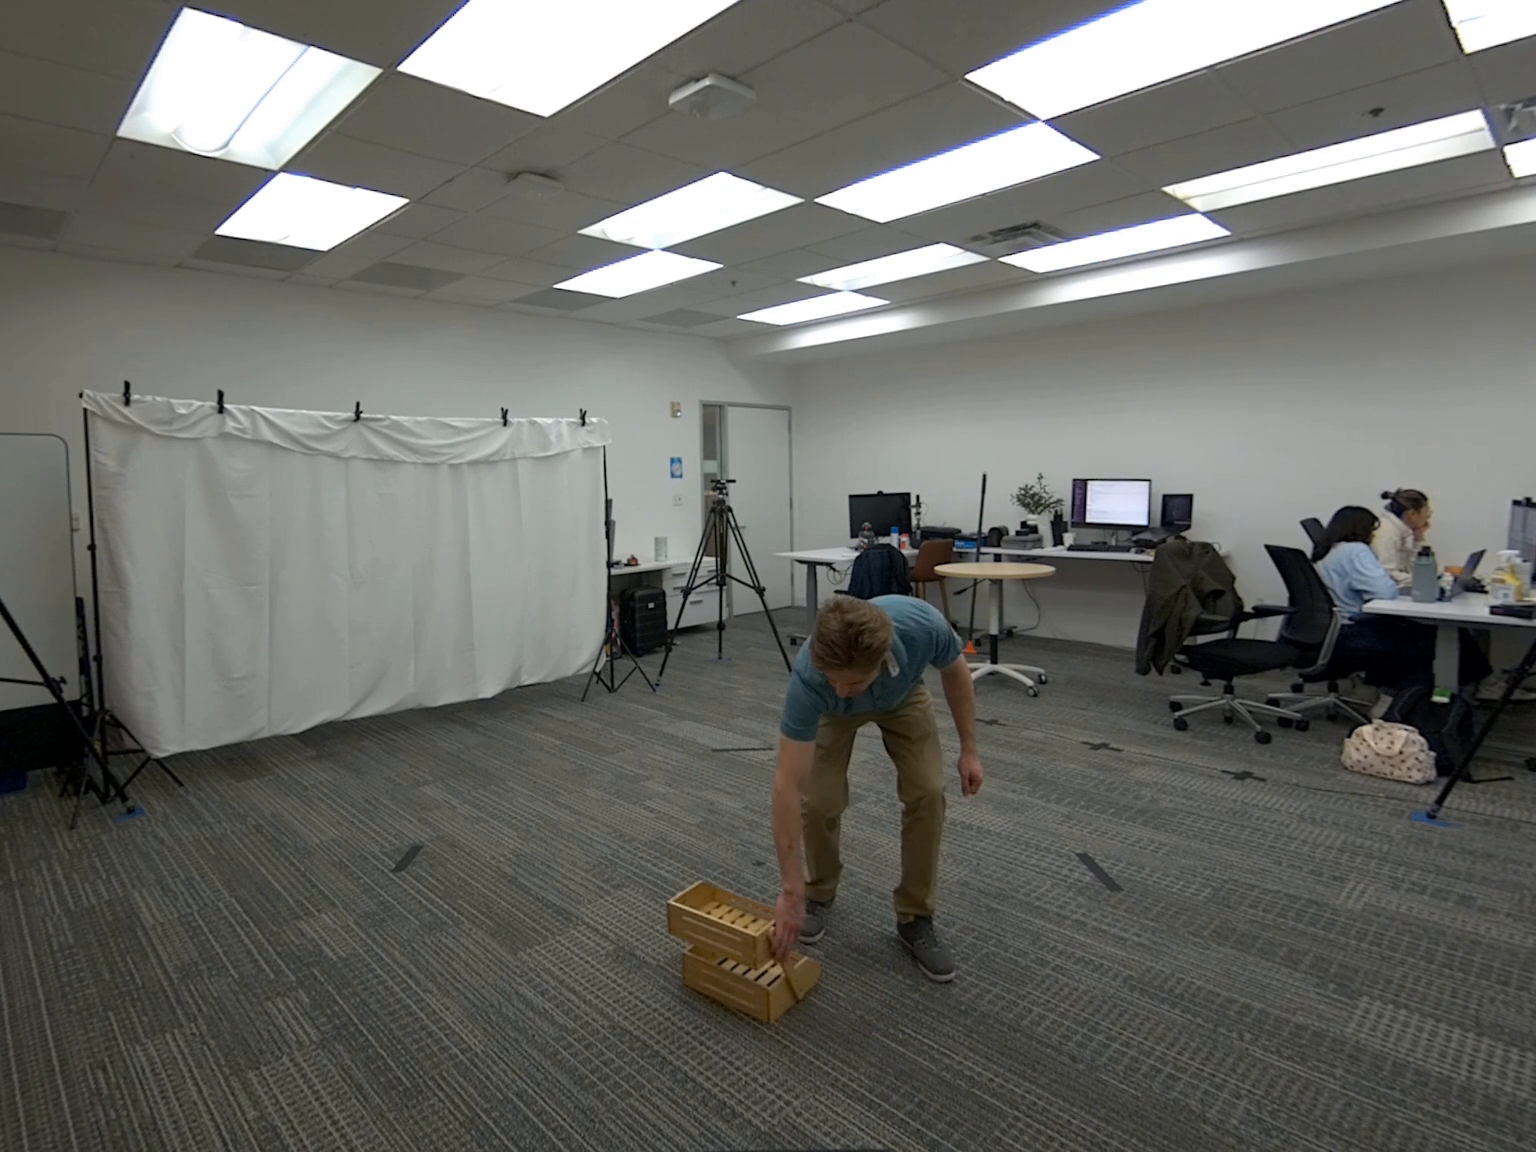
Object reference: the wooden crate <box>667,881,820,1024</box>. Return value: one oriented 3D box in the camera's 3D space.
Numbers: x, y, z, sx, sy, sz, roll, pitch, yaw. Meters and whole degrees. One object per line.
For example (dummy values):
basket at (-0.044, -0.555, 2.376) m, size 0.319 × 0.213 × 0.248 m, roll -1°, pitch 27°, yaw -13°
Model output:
wooden crate at (-0.054, 1.000, 2.356) m, size 0.334 × 0.272 × 0.295 m, roll 3°, pitch 7°, yaw 37°
